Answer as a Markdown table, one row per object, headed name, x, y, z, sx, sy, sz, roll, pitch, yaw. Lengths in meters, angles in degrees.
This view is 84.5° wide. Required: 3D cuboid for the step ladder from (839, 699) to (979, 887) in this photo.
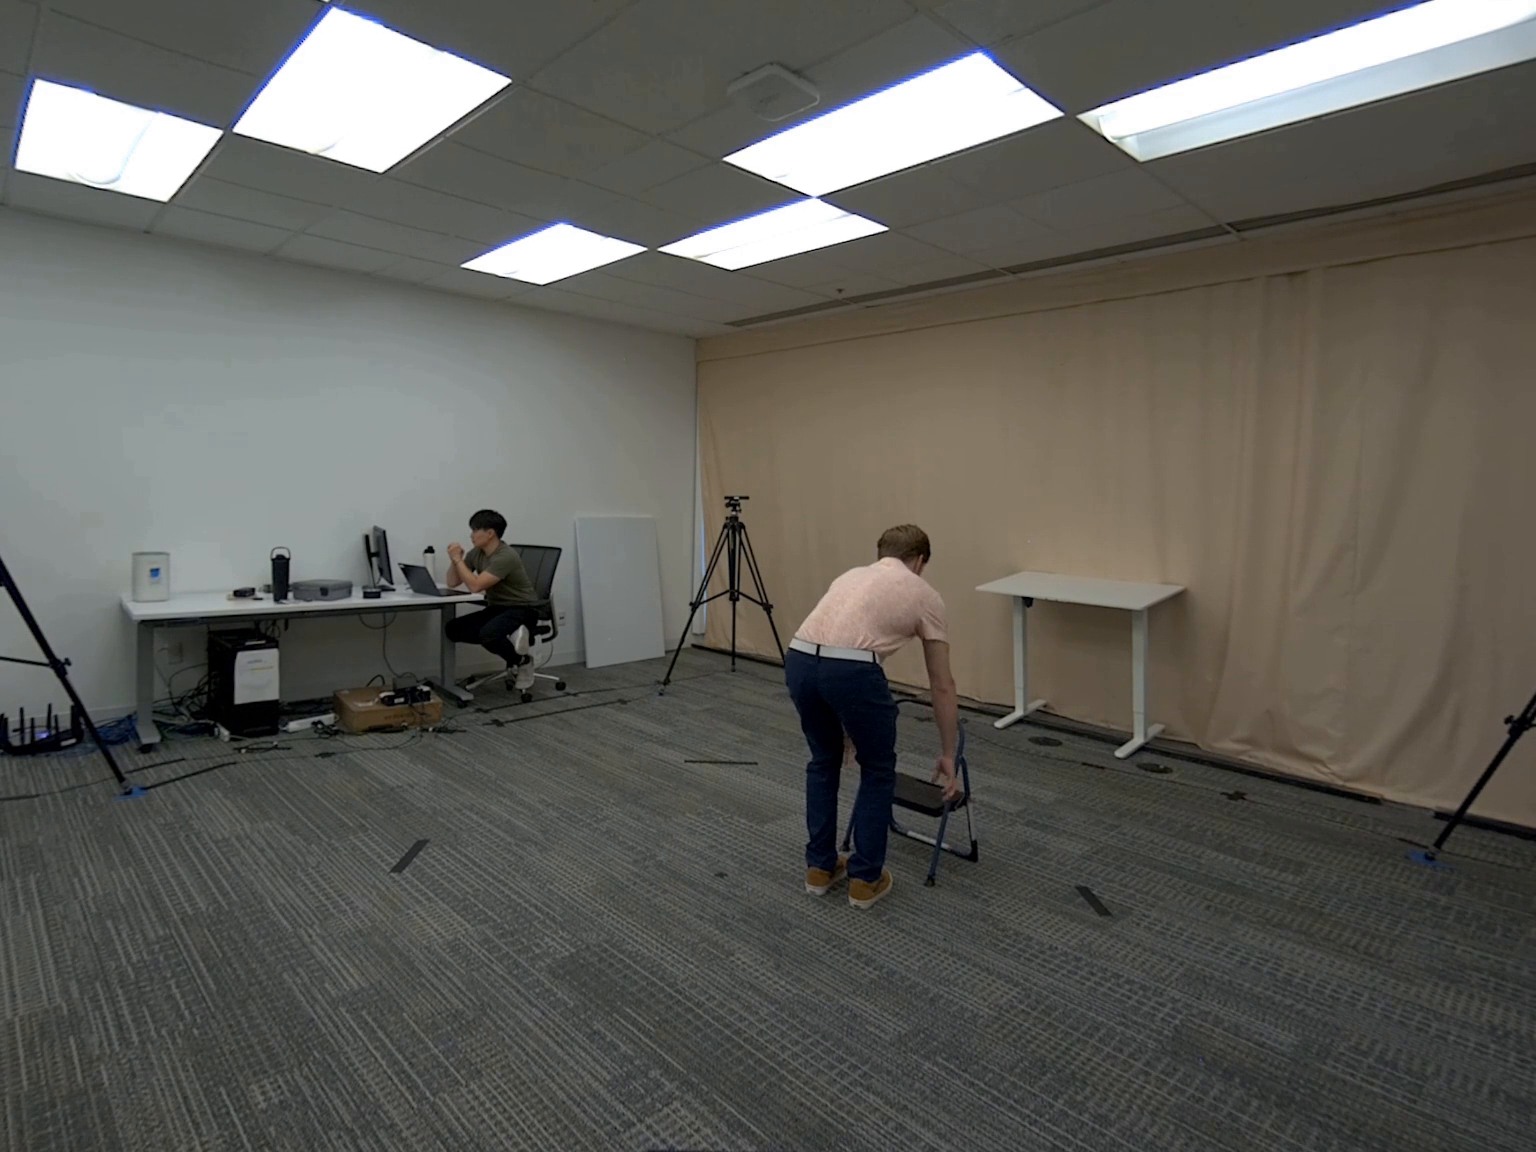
| name | x | y | z | sx | sy | sz | roll | pitch | yaw |
| --- | --- | --- | --- | --- | --- | --- | --- | --- | --- |
| step ladder | 0.560 | 0.801 | 3.309 | 0.341 | 0.605 | 0.442 | -1 | 4 | -45 |
